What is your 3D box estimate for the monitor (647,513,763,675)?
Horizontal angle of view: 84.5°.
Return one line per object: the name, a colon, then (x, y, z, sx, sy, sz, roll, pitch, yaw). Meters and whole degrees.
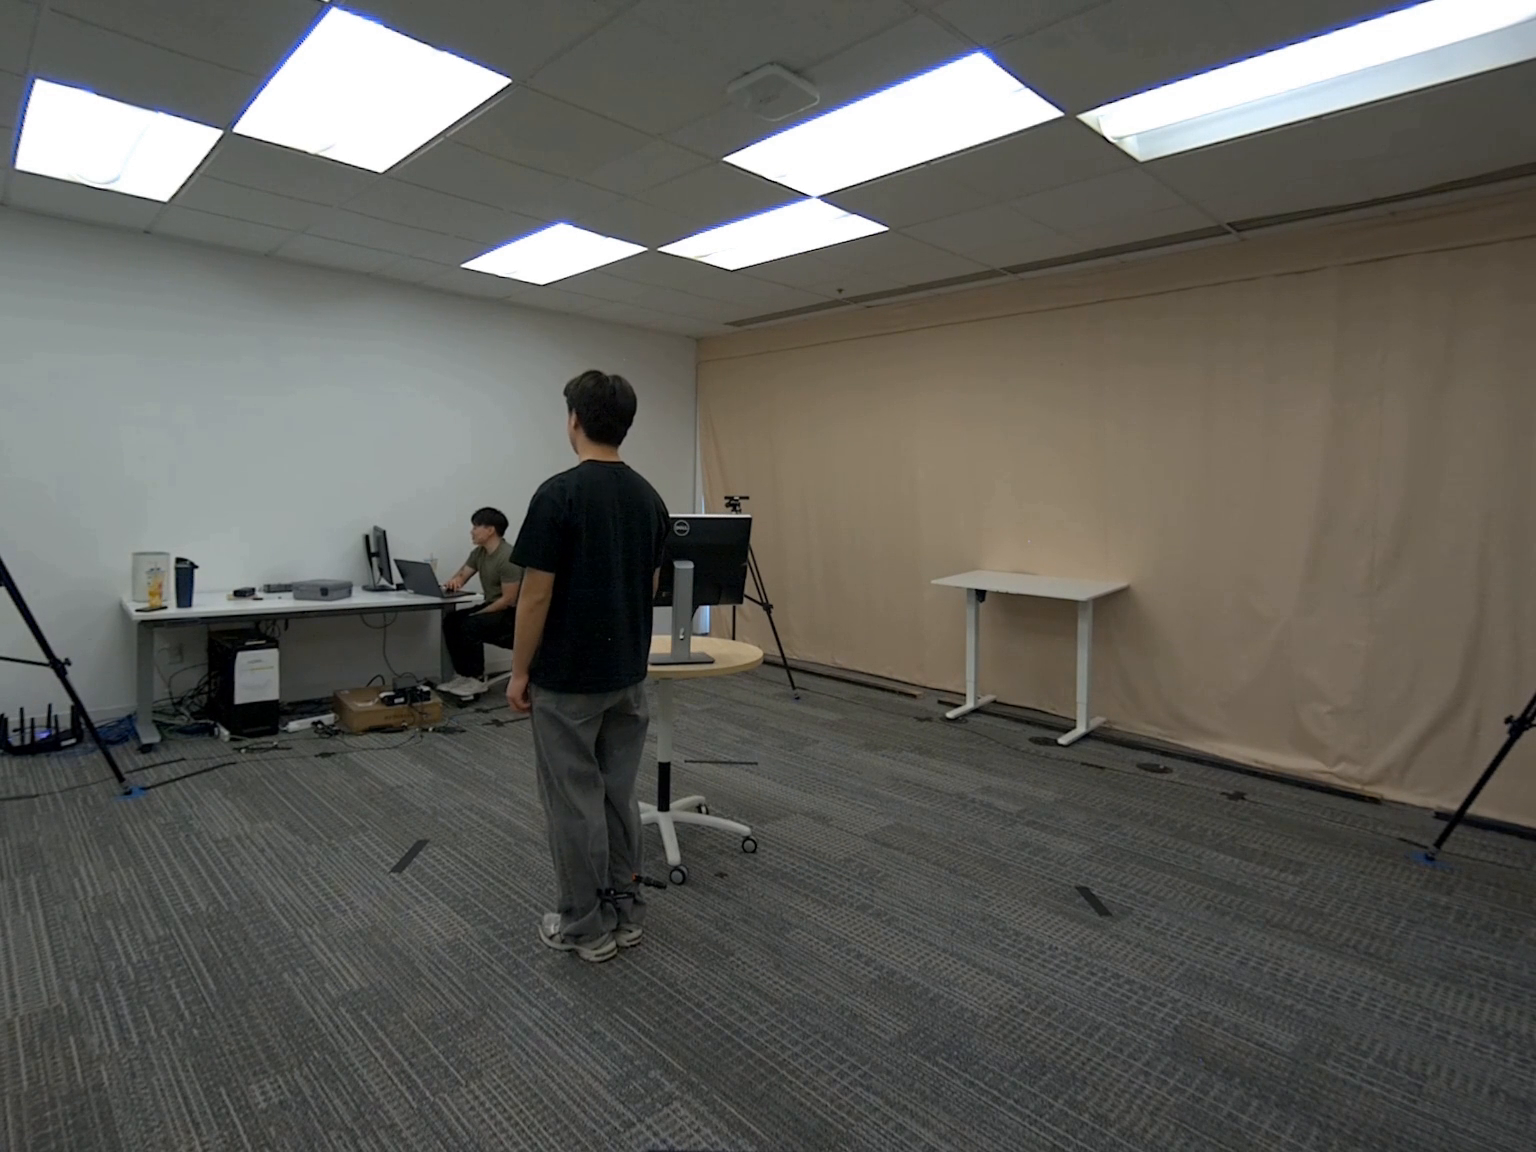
monitor: (-0.331, 0.054, 3.134, 0.555, 0.565, 0.225, 0, 3, -16)
